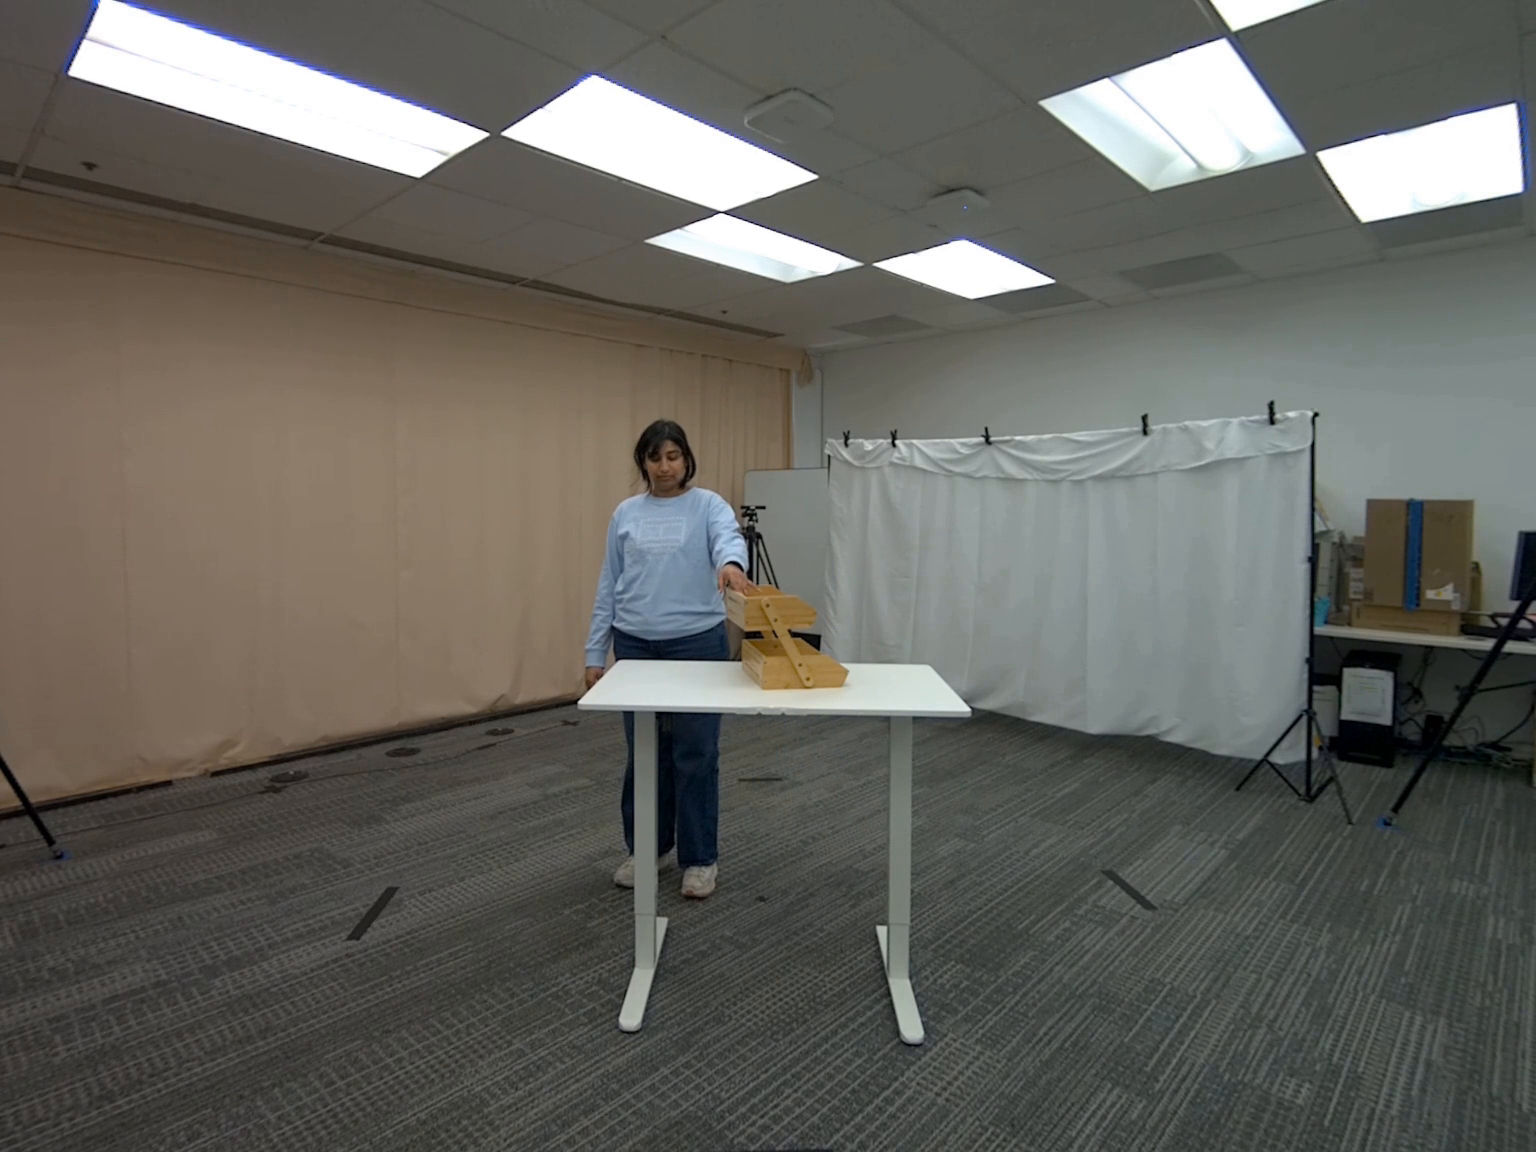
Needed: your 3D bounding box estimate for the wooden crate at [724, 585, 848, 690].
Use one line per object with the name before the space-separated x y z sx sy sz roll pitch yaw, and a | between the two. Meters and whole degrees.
wooden crate | 0.057 0.172 2.480 0.299 0.272 0.329 -2 5 -11
